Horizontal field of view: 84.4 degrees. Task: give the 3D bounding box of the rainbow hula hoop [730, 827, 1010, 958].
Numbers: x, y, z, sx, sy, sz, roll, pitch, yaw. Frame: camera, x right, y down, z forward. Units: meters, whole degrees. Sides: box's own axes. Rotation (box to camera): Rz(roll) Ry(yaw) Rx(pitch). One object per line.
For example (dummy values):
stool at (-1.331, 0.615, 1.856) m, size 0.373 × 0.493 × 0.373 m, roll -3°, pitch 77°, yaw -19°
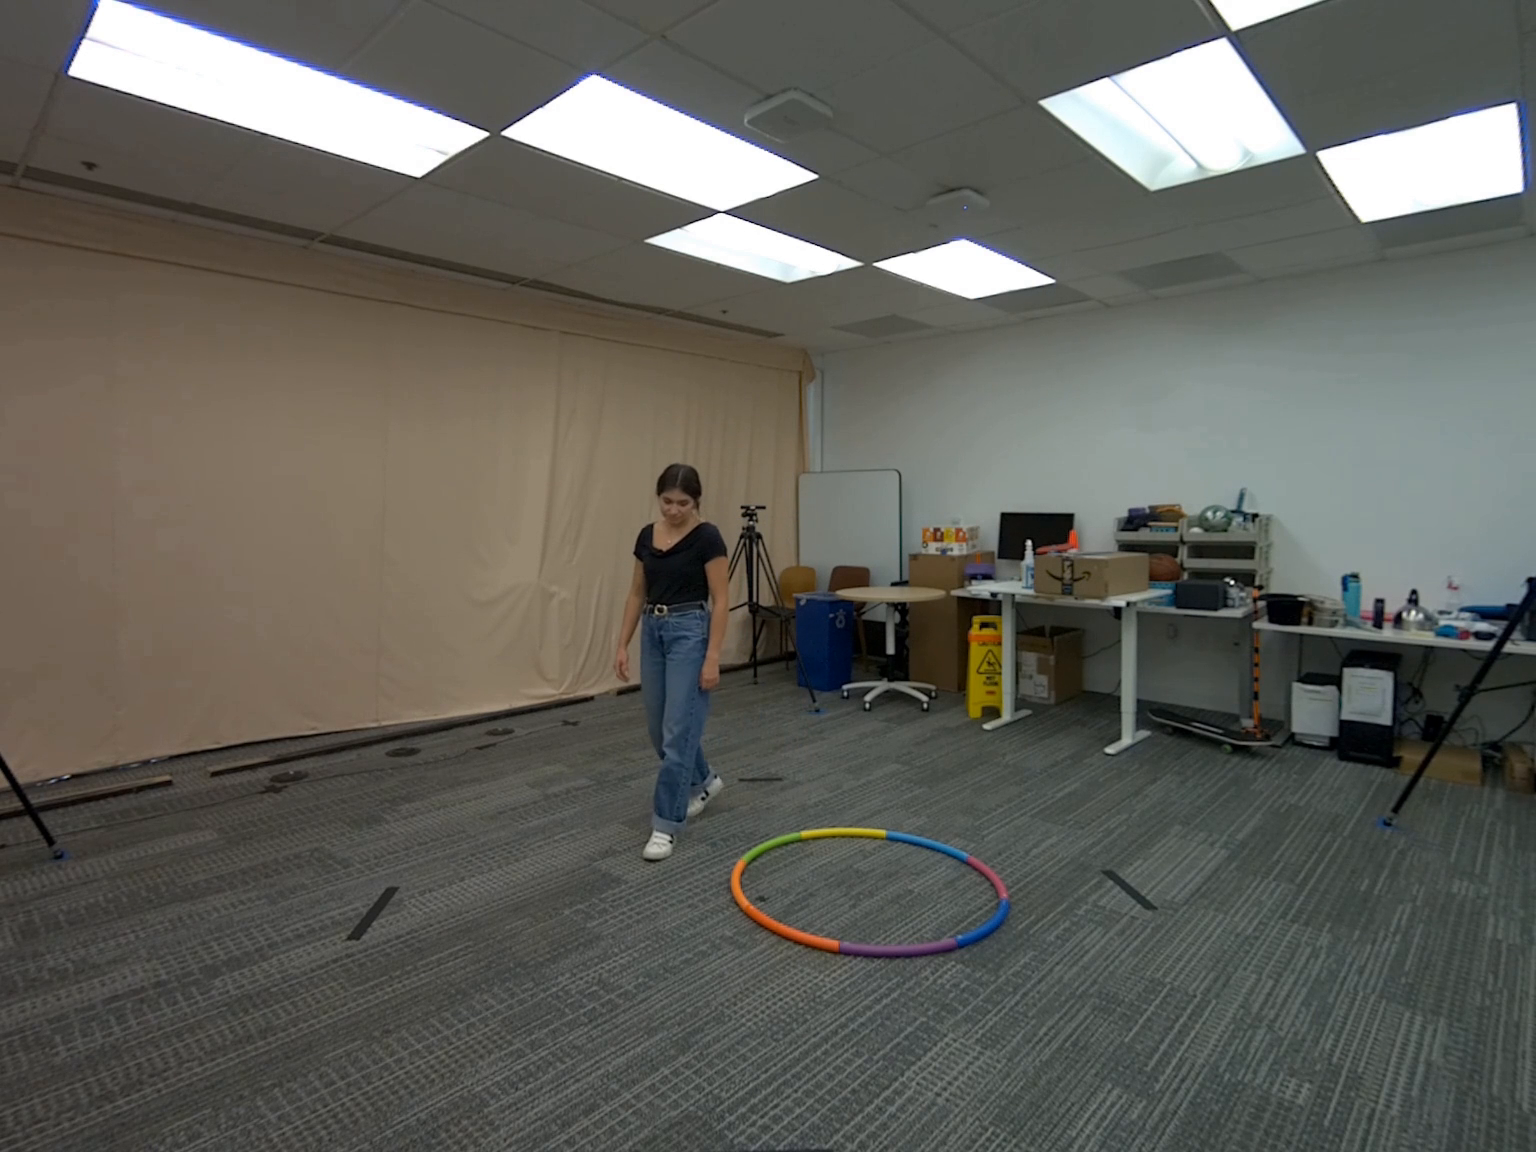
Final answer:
rainbow hula hoop at (0.361, 1.106, 3.069) m, size 0.978 × 0.035 × 0.982 m, roll 0°, pitch 5°, yaw -2°
